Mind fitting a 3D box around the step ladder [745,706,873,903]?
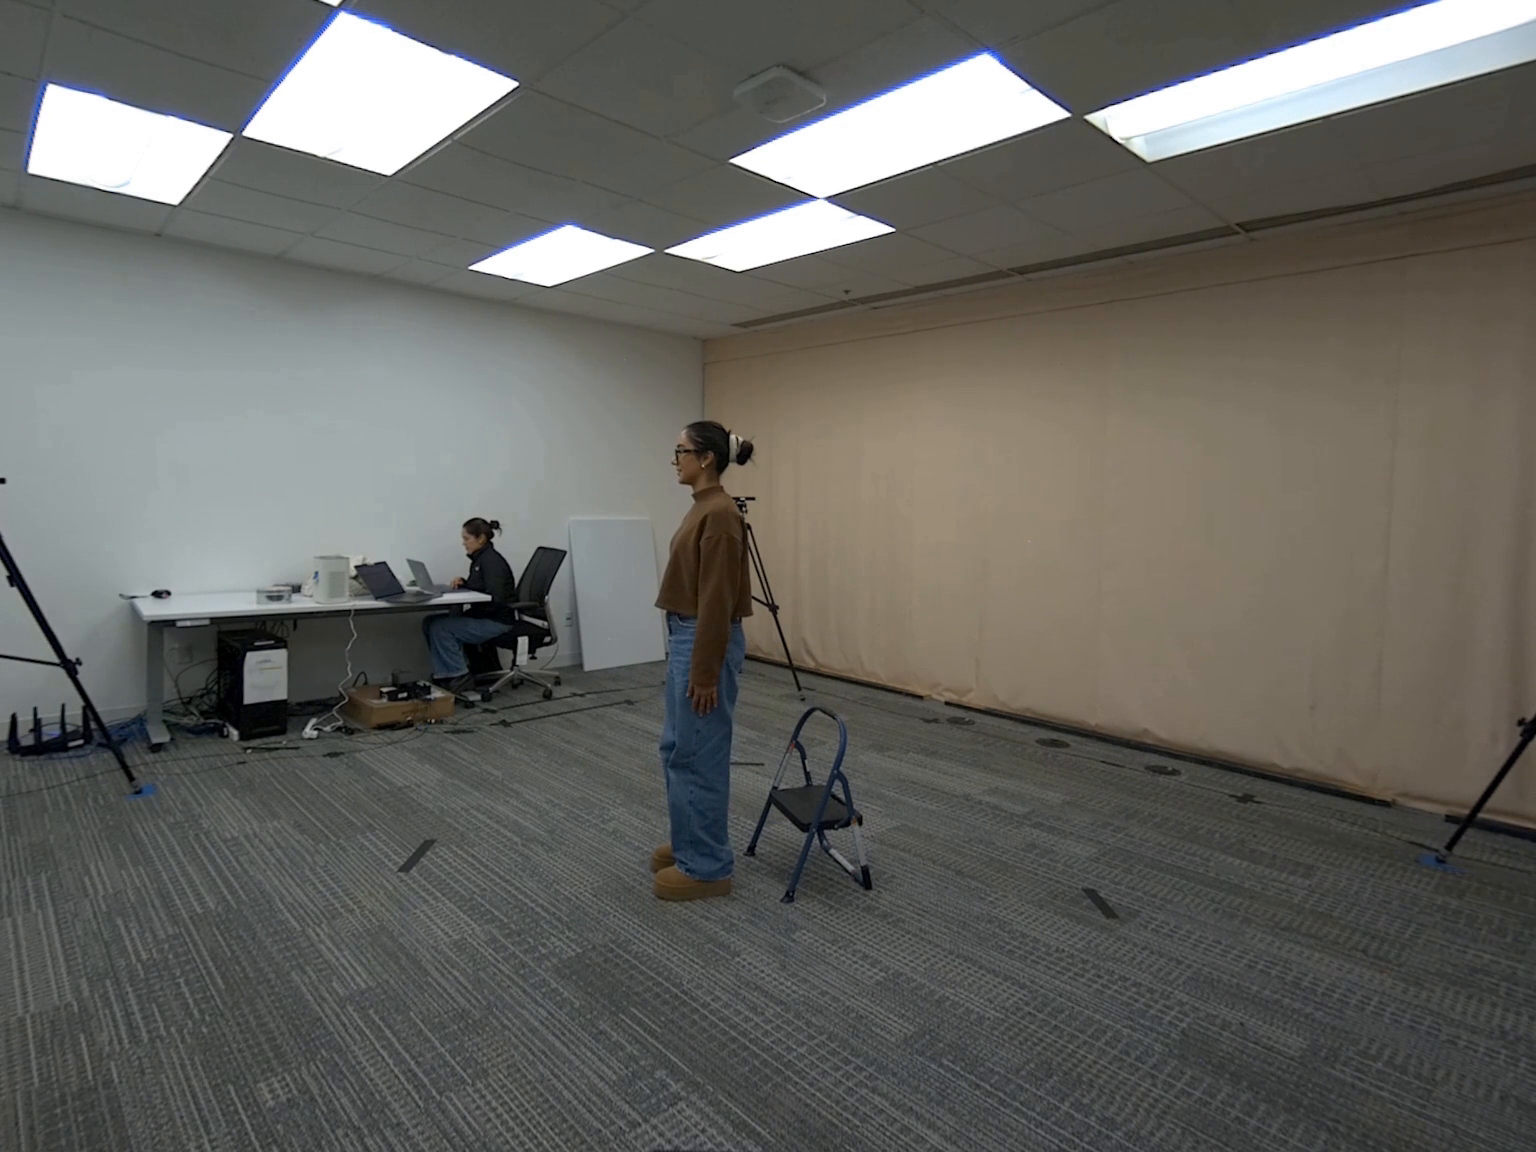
[{"bbox_3d":[0.143,0.813,3.139,0.344,0.604,0.438,-1,4,-21],"label":"step ladder"}]
